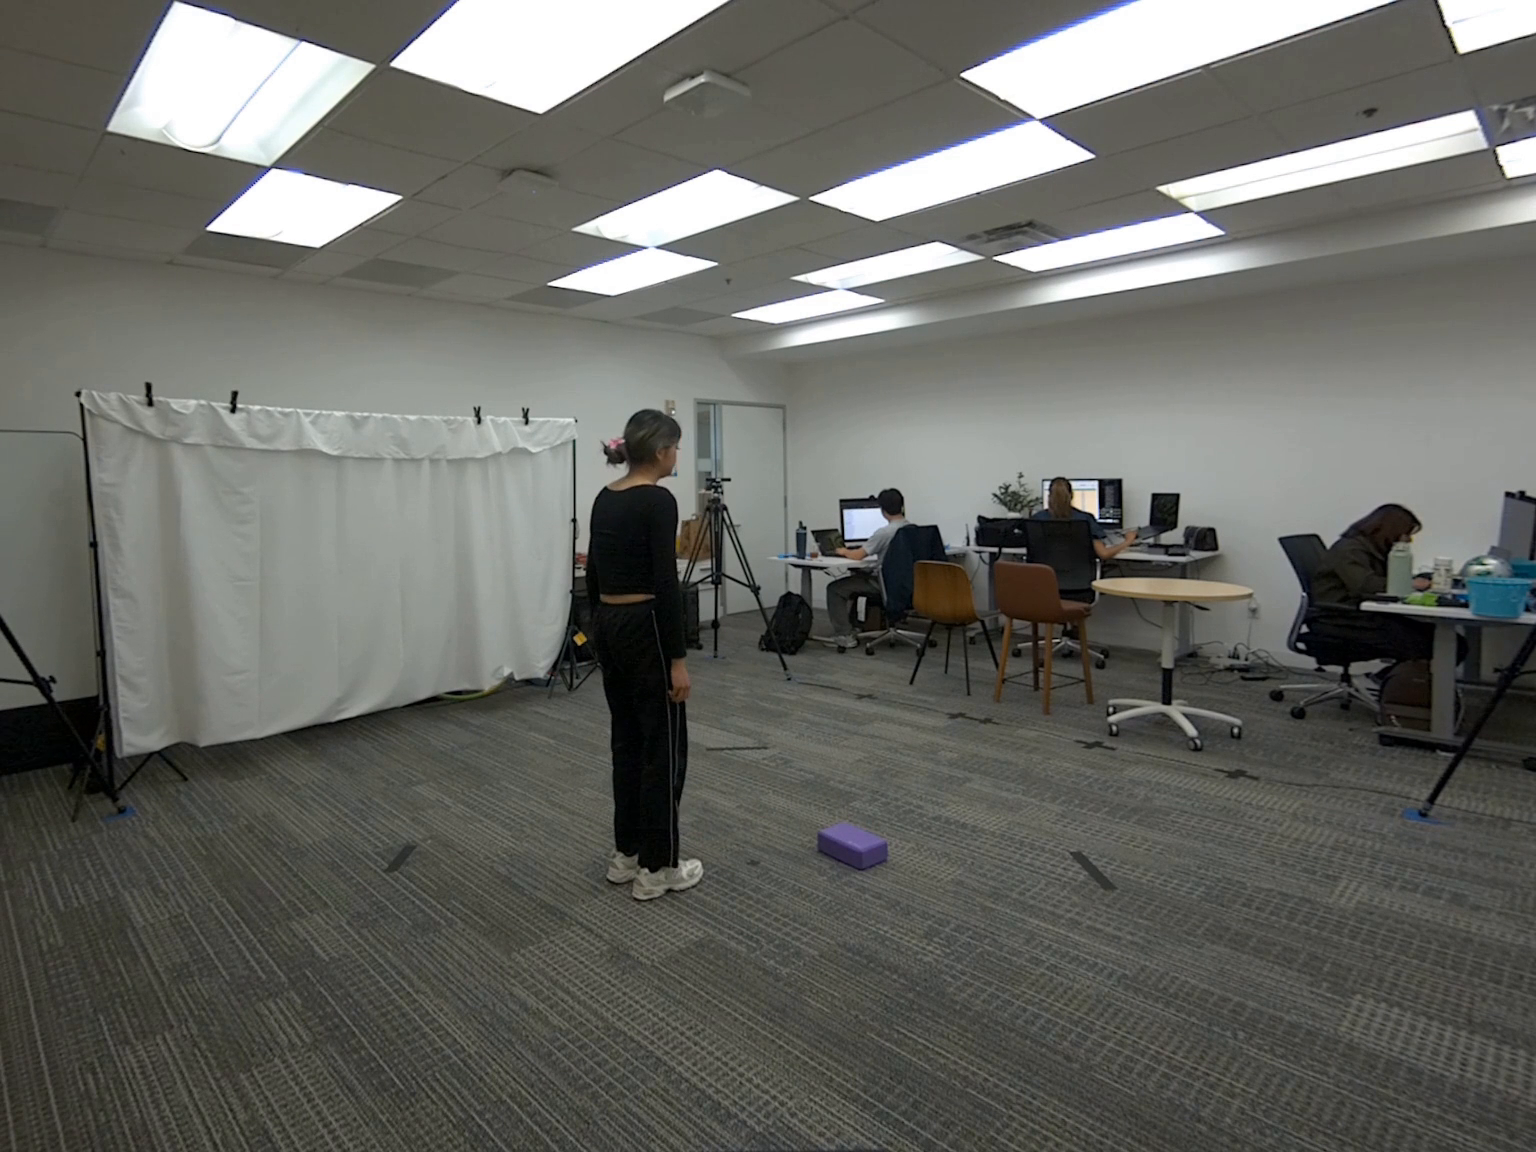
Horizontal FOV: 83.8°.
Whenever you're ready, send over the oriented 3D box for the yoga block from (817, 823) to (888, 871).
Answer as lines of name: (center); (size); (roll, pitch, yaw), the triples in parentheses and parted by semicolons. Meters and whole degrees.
yoga block: (0.314, 0.992, 3.153); (0.145, 0.076, 0.236); (-5, 8, -38)
